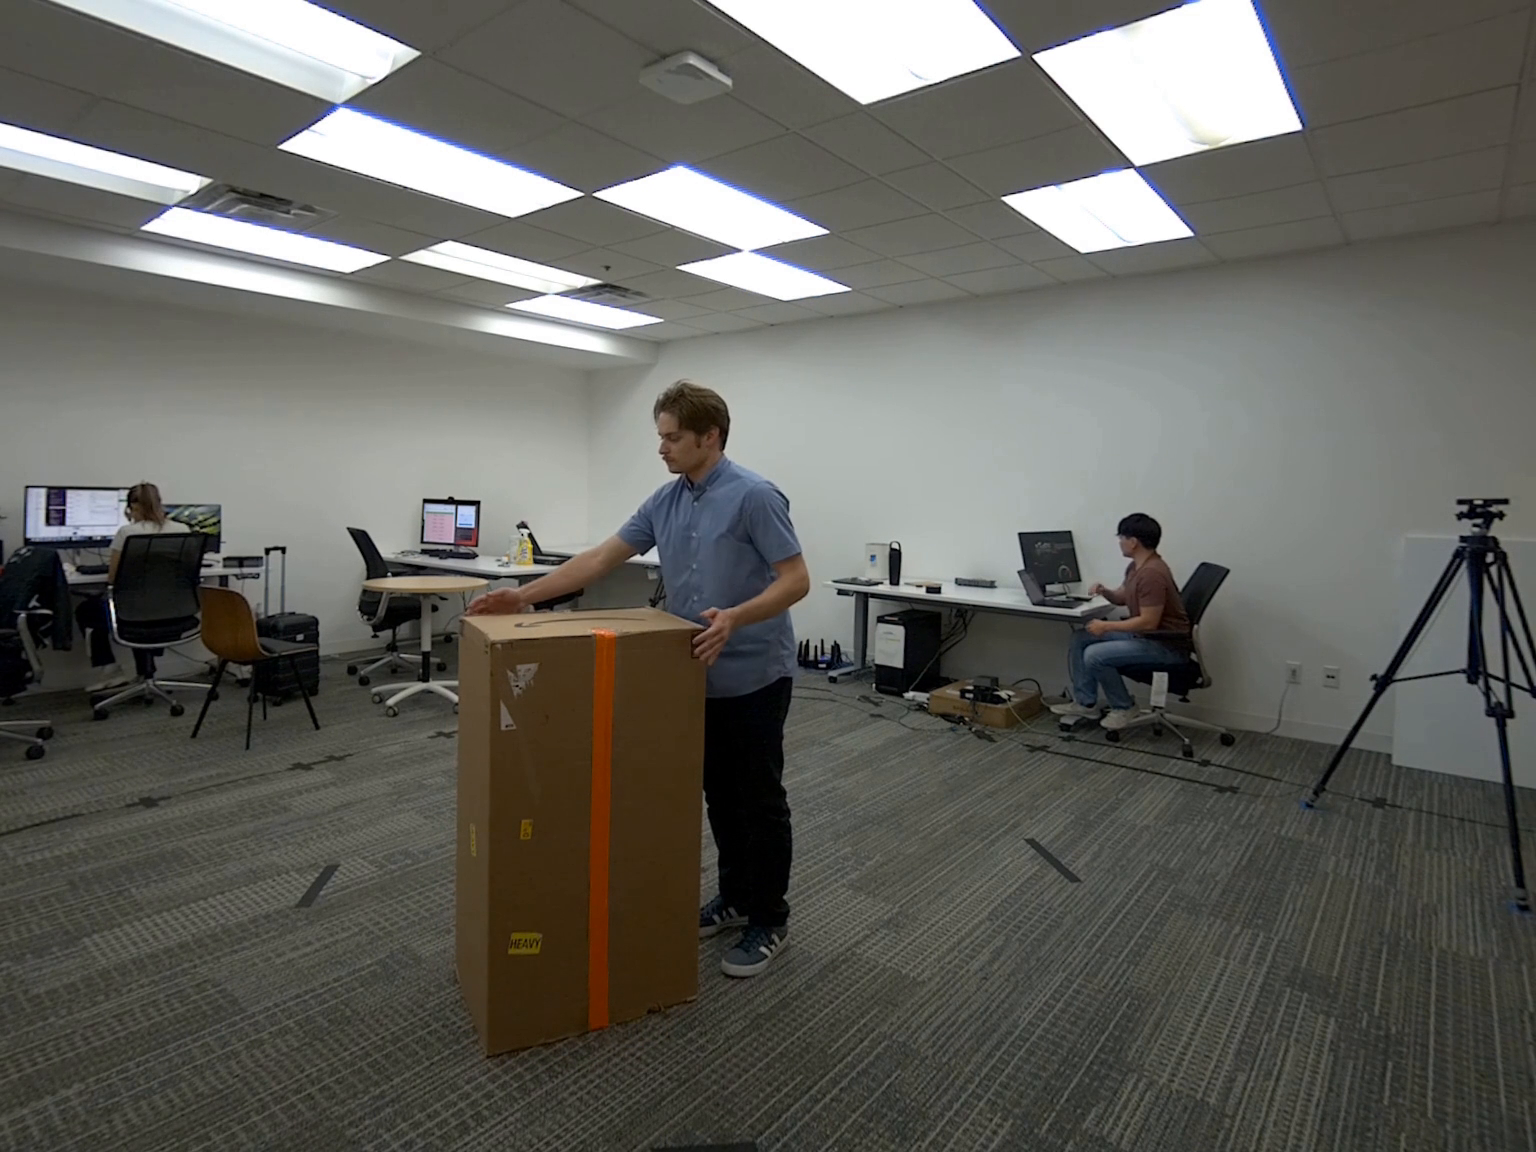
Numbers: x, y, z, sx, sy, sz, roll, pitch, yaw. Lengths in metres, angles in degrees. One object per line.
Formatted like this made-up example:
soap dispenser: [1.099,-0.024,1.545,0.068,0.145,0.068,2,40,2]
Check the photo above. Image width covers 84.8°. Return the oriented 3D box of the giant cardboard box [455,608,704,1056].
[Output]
giant cardboard box: [-0.535,0.632,2.339,0.563,1.023,0.438,0,3,-28]
